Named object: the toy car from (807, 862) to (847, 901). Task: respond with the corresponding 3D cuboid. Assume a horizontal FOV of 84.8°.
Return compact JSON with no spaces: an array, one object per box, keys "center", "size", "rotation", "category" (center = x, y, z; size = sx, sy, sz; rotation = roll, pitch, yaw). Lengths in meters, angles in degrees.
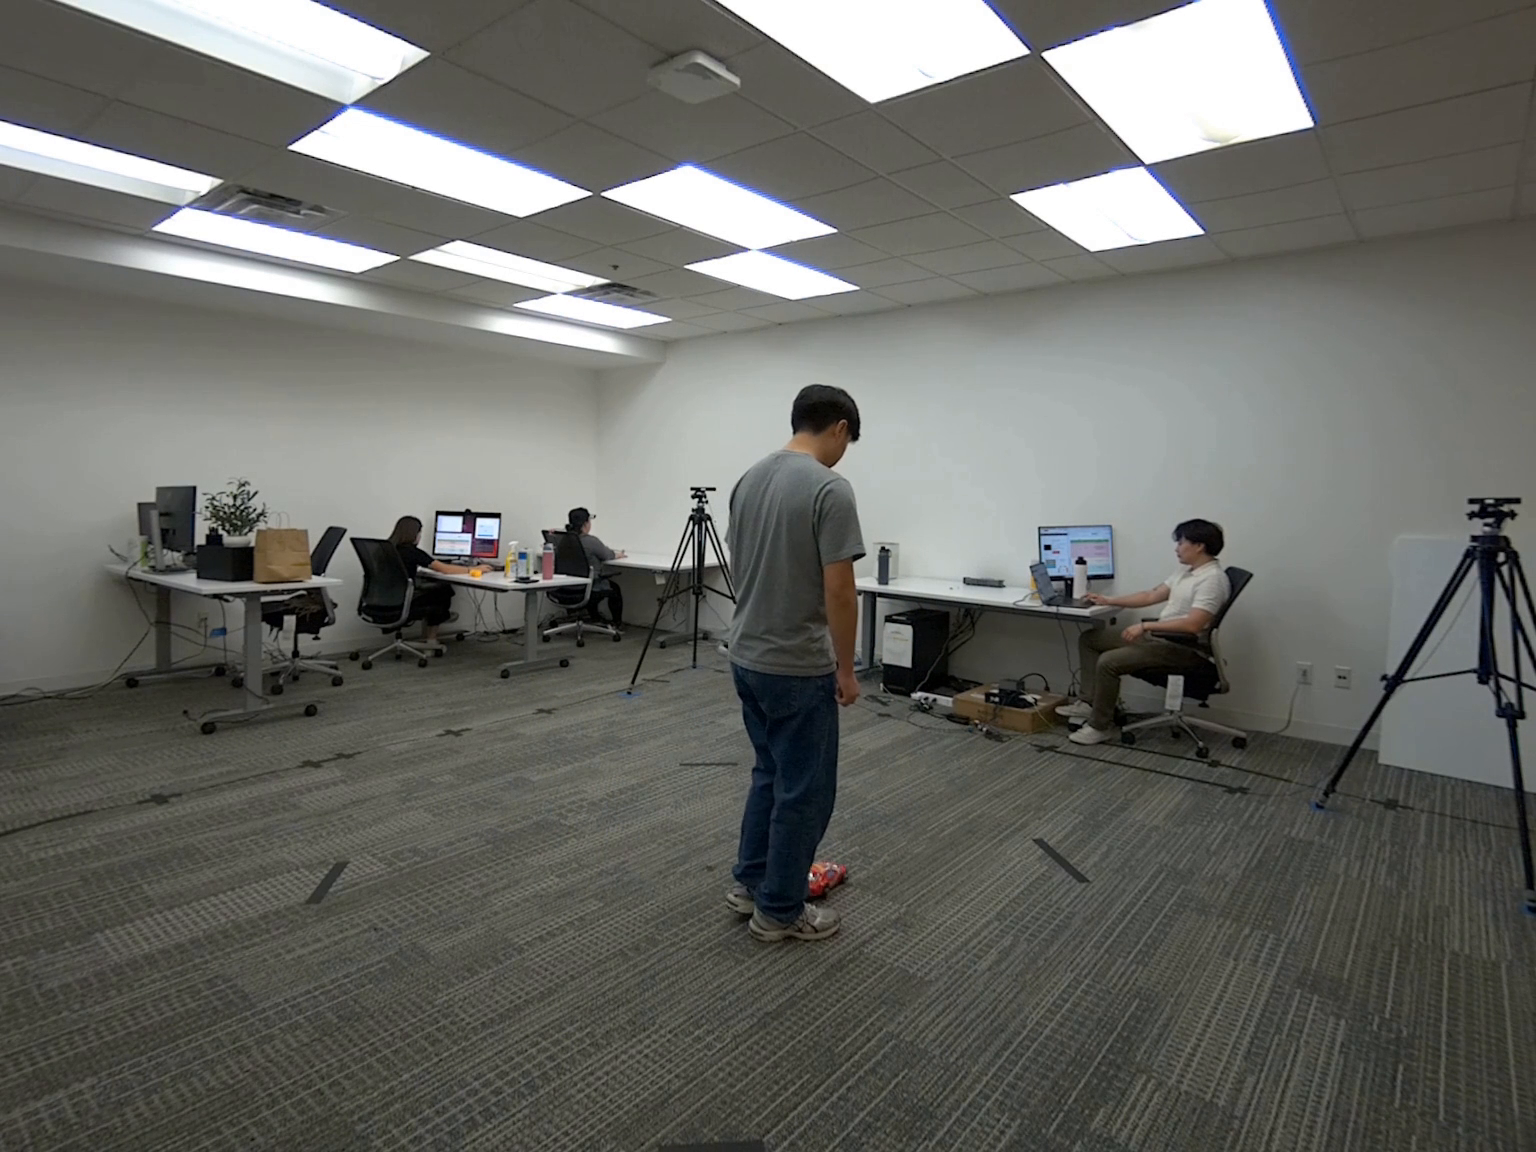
[{"center":[0.176,1.053,2.971],"size":[0.134,0.083,0.245],"rotation":[5,-5,33],"category":"toy car"}]
